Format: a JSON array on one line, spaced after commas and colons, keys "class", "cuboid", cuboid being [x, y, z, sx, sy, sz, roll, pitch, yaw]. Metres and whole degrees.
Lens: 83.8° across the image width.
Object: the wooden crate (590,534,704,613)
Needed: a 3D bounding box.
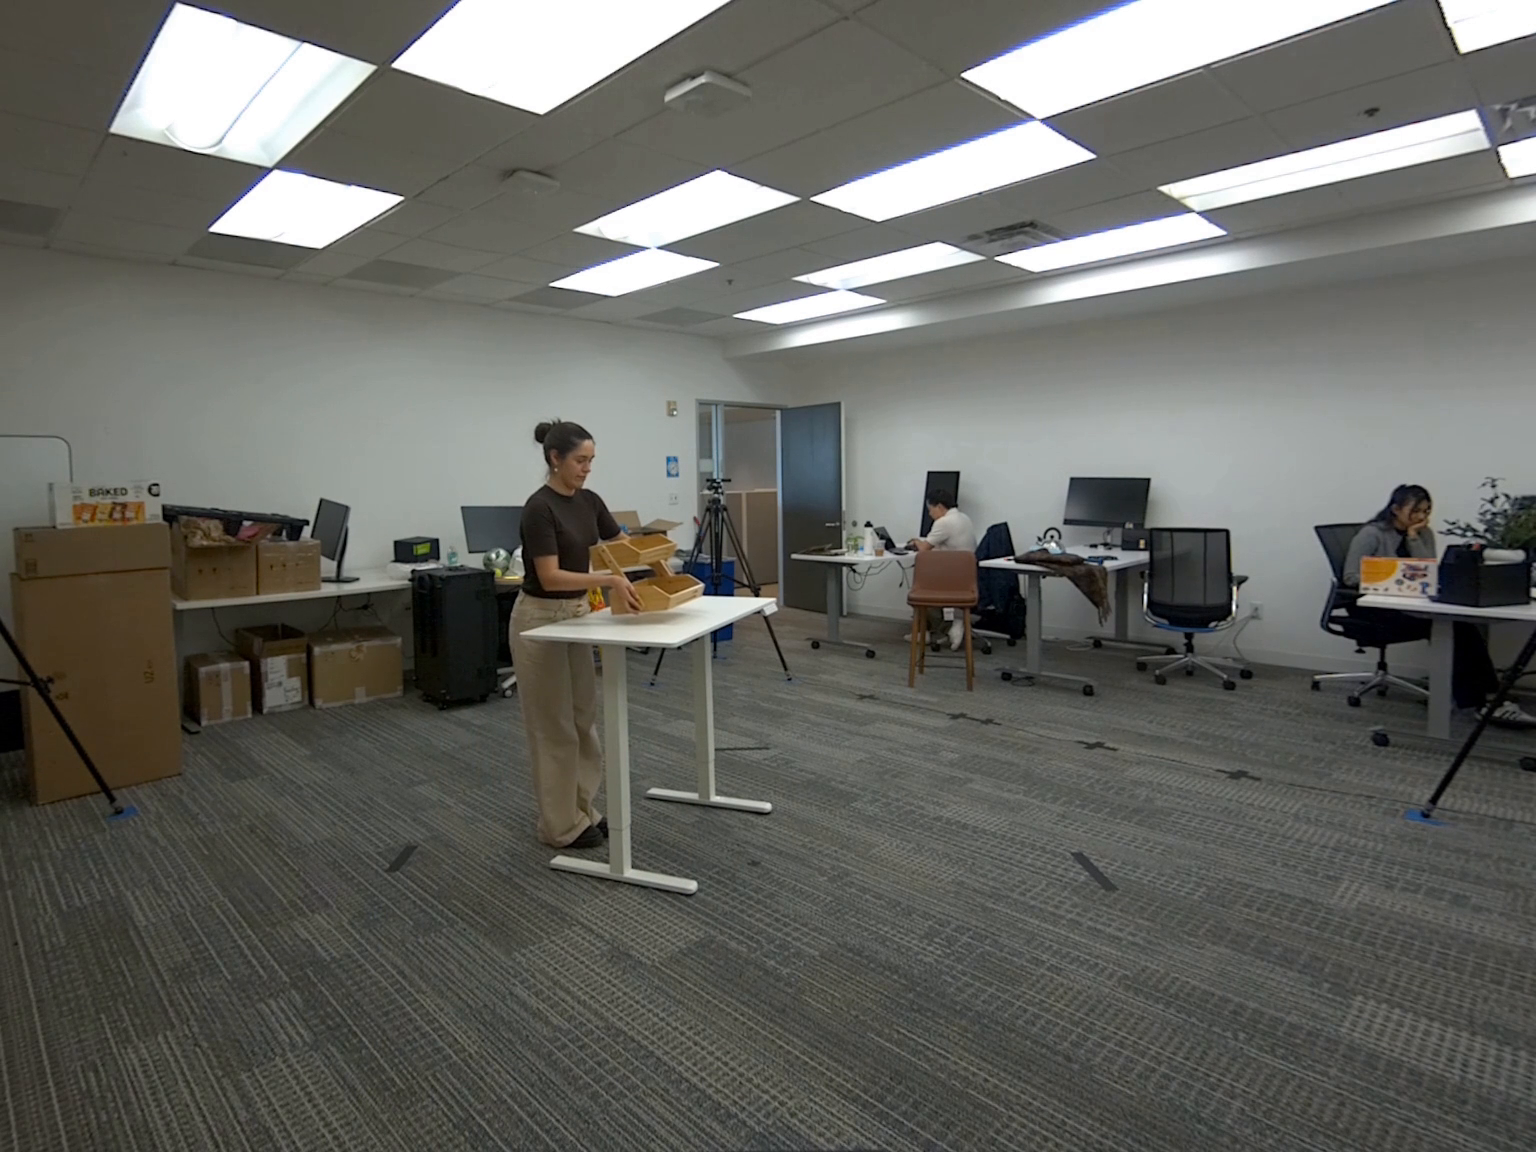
[{"class": "wooden crate", "cuboid": [-0.451, -0.017, 3.210, 0.307, 0.272, 0.320, -7, 4, 22]}]
